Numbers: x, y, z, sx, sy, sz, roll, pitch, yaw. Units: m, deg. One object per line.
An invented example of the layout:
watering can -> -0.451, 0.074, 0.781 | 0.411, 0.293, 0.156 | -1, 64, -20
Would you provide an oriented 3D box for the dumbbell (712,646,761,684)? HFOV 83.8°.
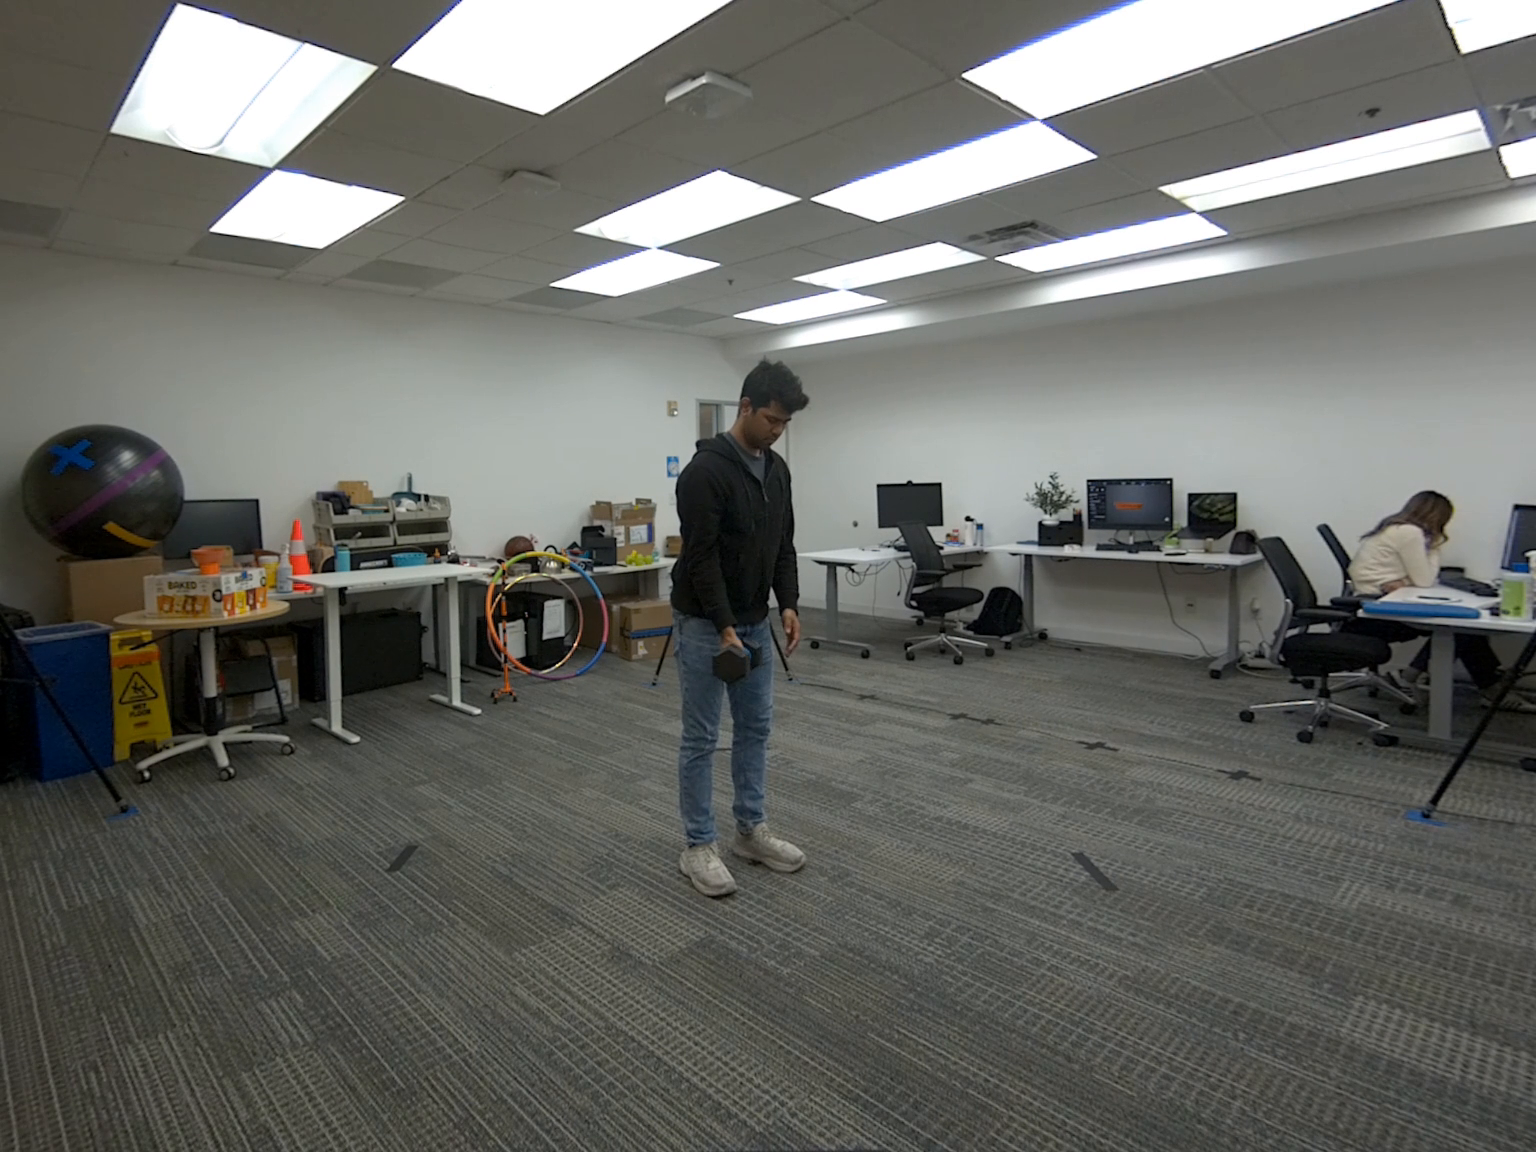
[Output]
dumbbell -> -0.091, 0.271, 2.765 | 0.110, 0.123, 0.290 | -6, 1, 11
